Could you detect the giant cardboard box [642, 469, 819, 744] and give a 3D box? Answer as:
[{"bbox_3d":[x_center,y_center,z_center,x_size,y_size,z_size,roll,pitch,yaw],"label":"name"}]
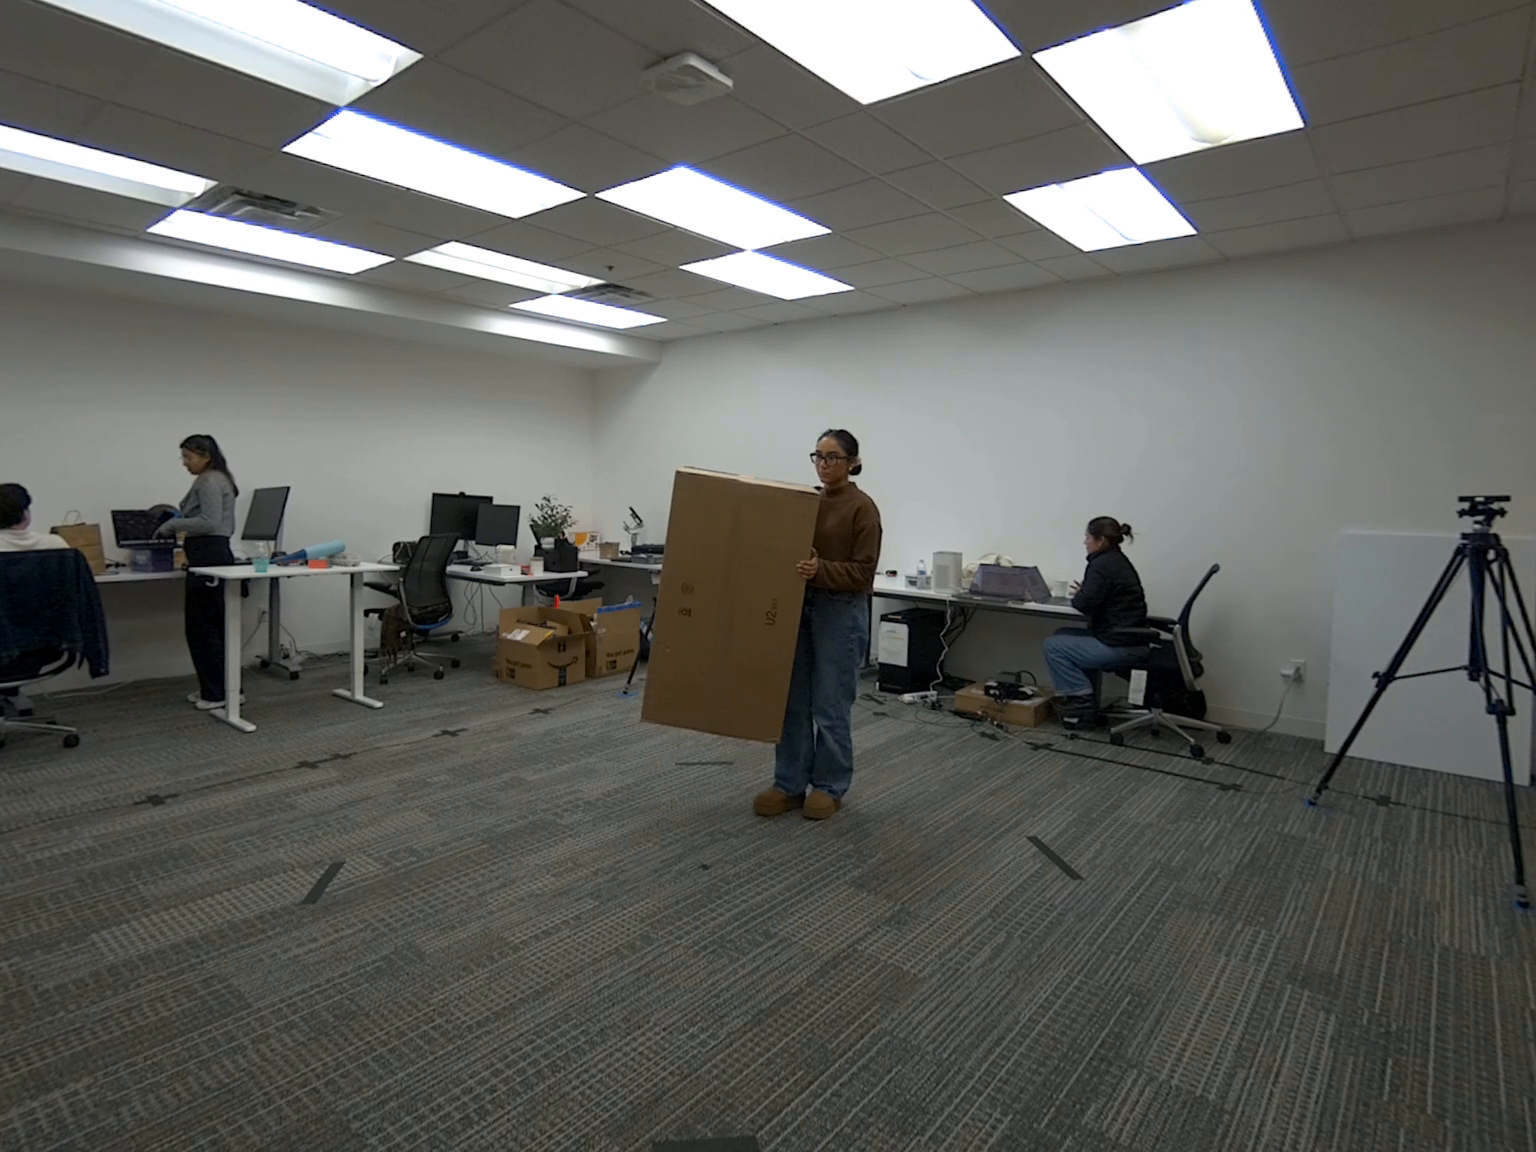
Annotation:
[{"bbox_3d":[-0.170,0.101,3.561,0.579,1.020,0.428,9,7,1],"label":"giant cardboard box"}]
